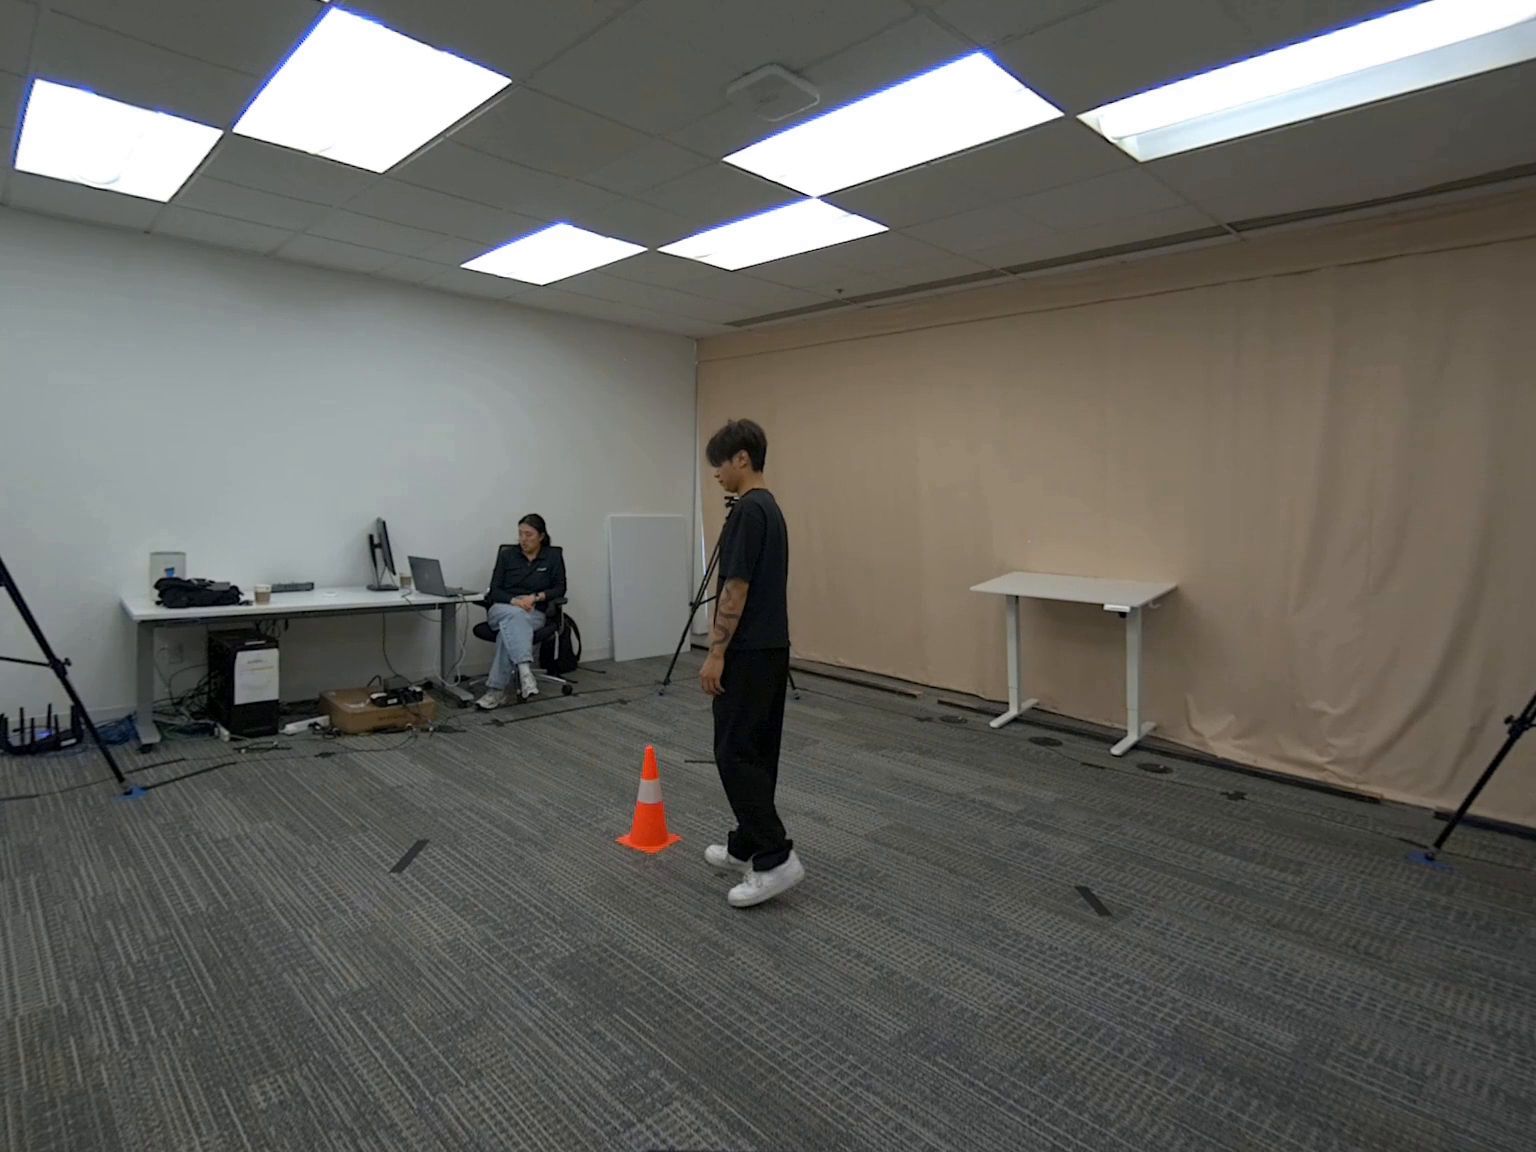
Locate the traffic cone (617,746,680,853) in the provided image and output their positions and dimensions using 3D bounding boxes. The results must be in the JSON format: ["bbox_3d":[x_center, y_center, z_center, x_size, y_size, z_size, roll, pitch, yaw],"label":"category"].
[{"bbox_3d":[-0.491,0.884,3.405,0.210,0.383,0.199,3,3,37],"label":"traffic cone"}]
